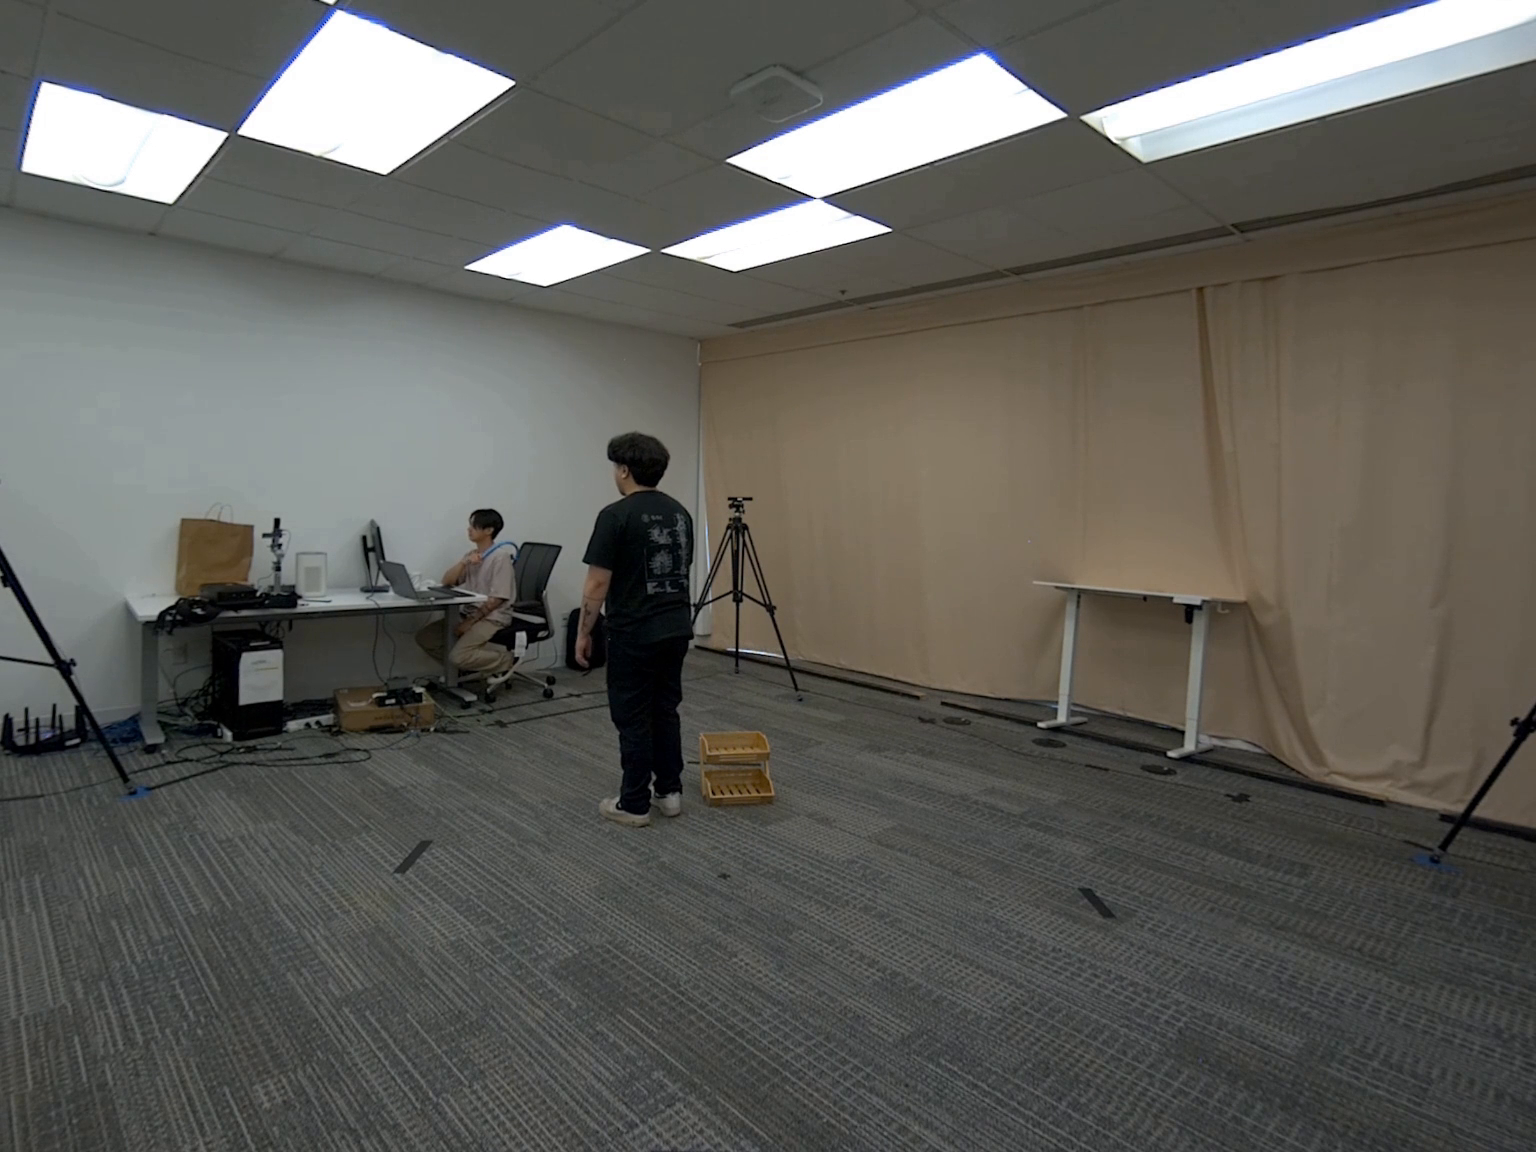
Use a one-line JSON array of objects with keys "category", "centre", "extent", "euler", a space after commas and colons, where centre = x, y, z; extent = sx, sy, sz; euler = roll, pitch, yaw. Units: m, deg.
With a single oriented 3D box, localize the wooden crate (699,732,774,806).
[{"category": "wooden crate", "centre": [-0.162, 0.898, 3.968], "extent": [0.321, 0.273, 0.306], "euler": [1, 3, -14]}]
